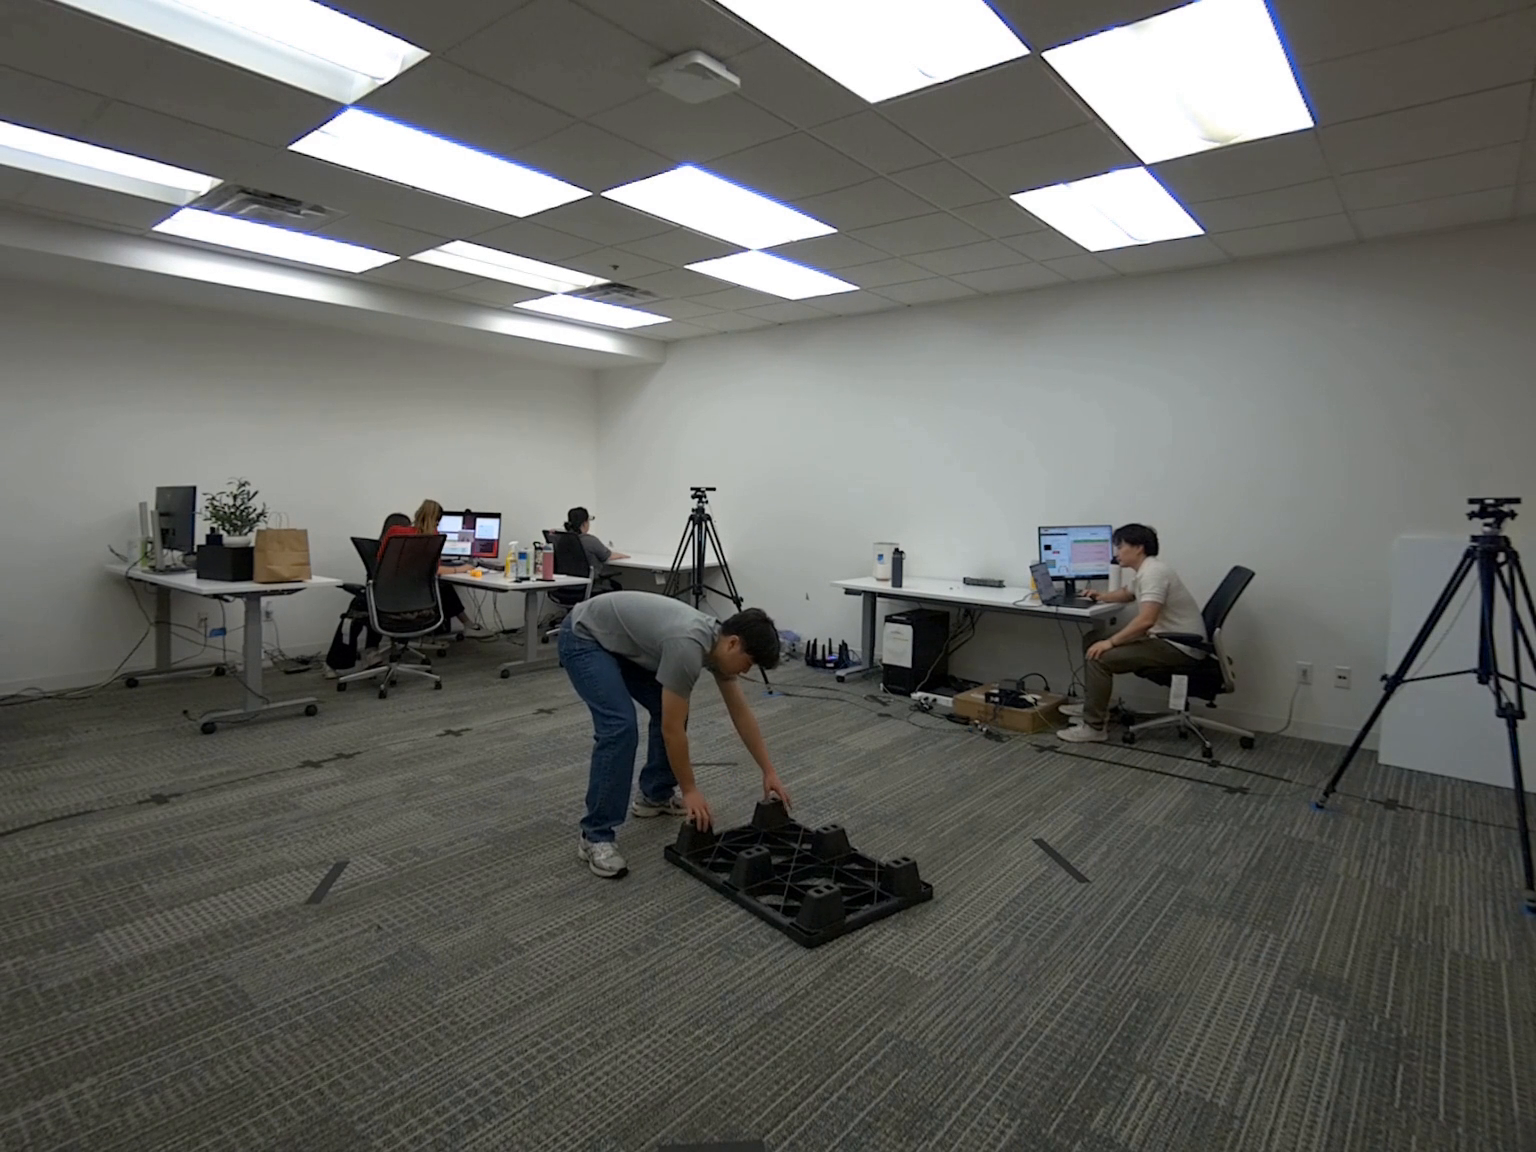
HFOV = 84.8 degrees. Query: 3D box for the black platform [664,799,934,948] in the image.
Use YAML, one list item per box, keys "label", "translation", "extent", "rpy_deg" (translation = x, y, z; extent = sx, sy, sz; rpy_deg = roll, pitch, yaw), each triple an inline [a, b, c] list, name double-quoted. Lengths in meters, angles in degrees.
- label: "black platform"
  translation: [0.087, 1.012, 3.057]
  extent: [0.587, 0.143, 0.833]
  rpy_deg: [-4, 7, -40]
